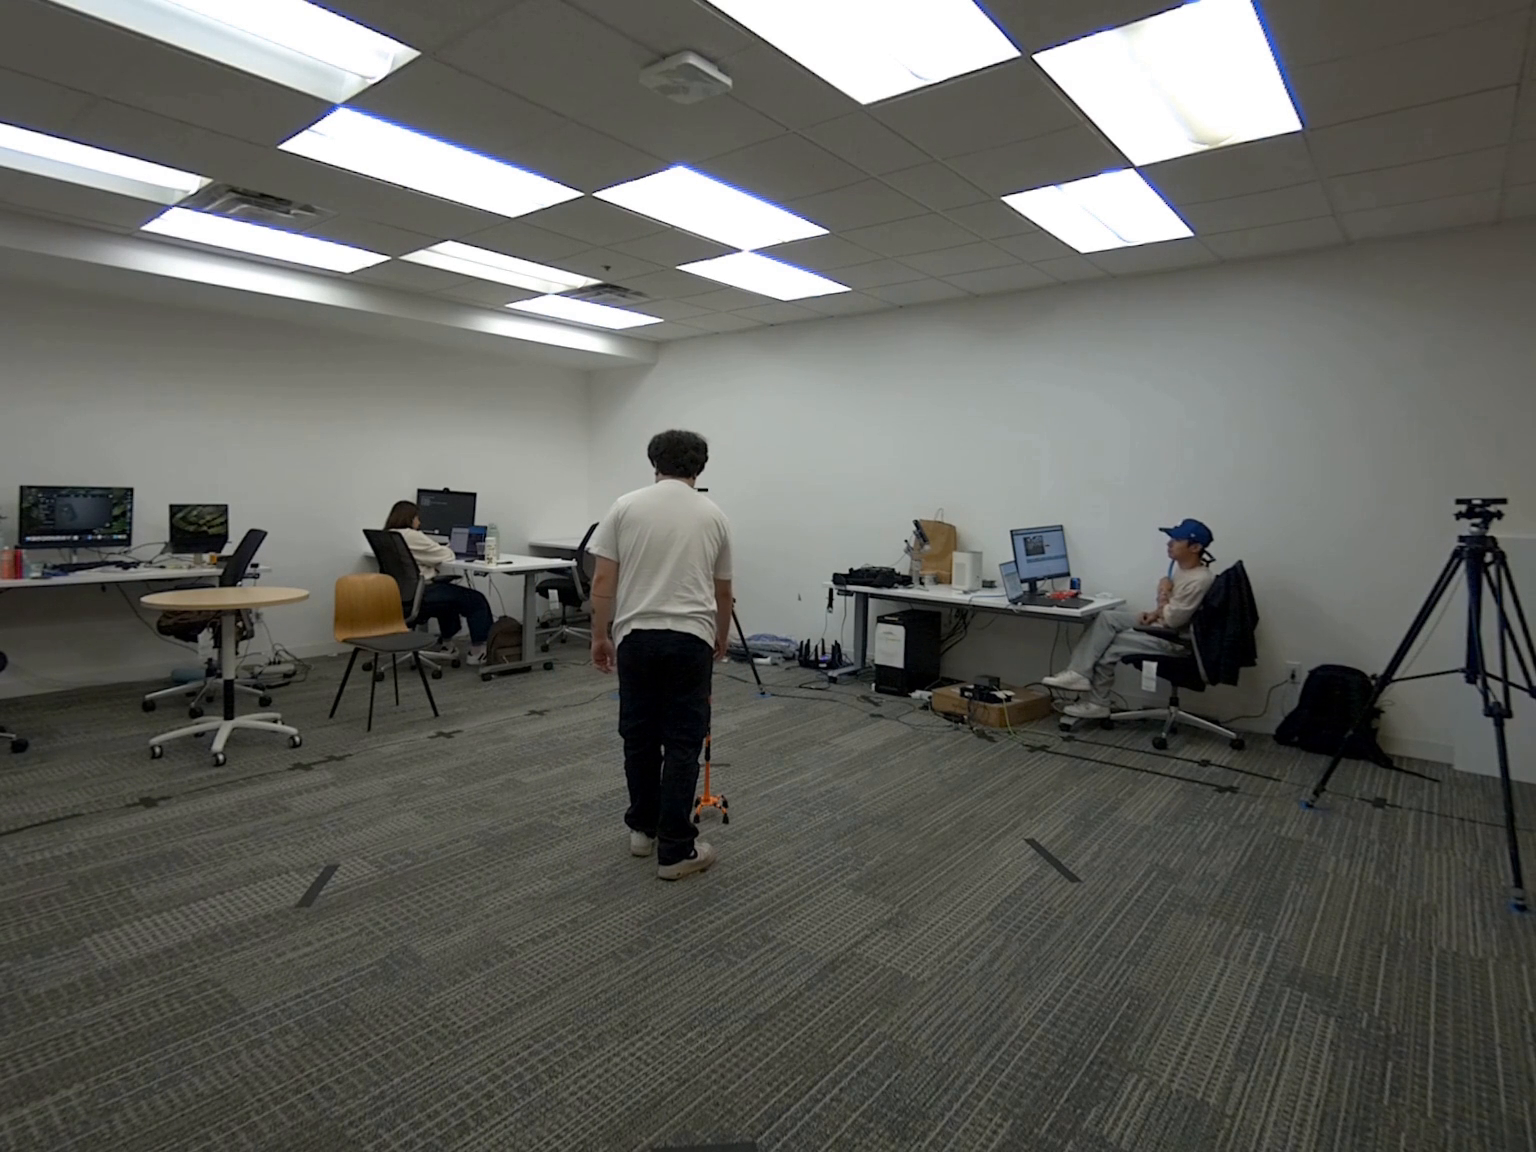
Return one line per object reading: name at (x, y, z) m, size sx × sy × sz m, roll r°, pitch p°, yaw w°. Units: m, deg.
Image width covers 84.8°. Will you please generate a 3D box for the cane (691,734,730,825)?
cane at (-0.254, 0.567, 3.614) m, size 0.151 × 0.905 × 0.207 m, roll 0°, pitch 3°, yaw -2°
